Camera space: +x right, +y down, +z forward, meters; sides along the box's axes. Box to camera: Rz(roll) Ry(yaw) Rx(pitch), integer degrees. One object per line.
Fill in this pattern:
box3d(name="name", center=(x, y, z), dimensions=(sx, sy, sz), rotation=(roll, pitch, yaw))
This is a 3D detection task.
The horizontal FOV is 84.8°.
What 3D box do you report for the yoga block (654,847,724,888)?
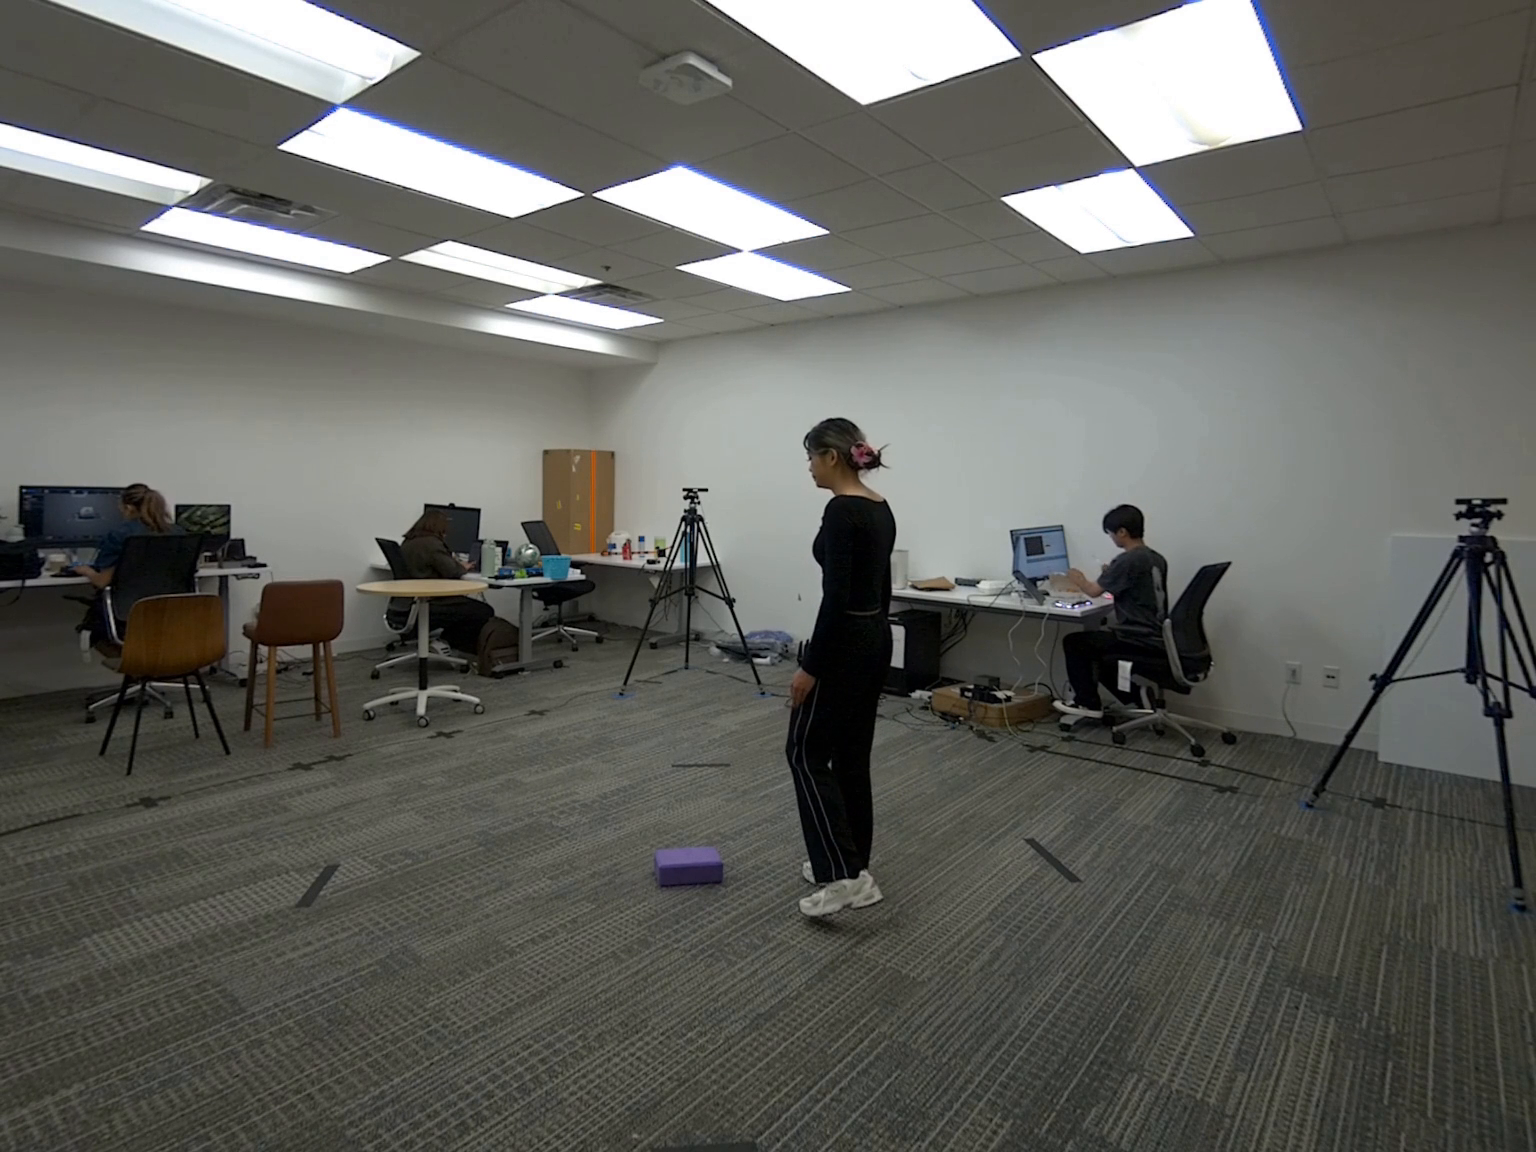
box3d(name="yoga block", center=(-0.296, 1.033, 3.048), dimensions=(0.226, 0.076, 0.151), rotation=(0, 4, -13))
